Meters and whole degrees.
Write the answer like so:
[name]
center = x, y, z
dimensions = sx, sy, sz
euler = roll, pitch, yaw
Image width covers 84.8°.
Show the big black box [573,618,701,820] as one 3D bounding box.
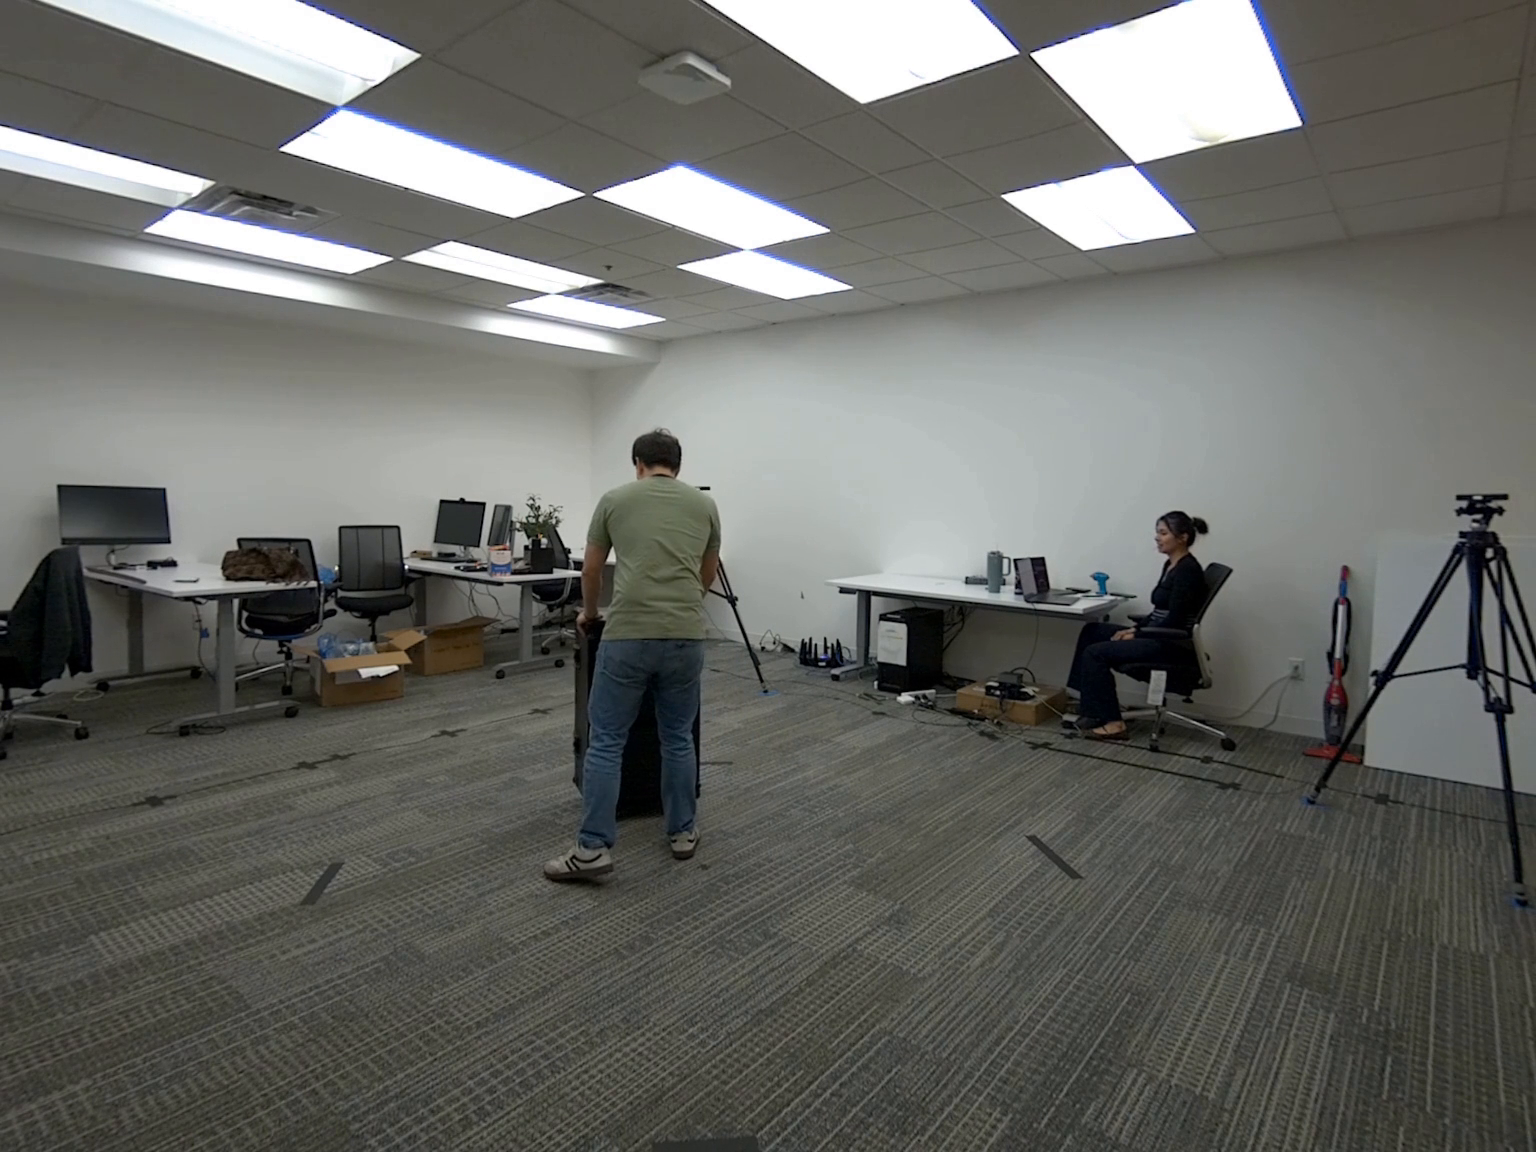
[big black box]
center = -0.578, 0.578, 3.681
dimensions = 0.511, 0.858, 0.406
euler = -1, 5, -19
